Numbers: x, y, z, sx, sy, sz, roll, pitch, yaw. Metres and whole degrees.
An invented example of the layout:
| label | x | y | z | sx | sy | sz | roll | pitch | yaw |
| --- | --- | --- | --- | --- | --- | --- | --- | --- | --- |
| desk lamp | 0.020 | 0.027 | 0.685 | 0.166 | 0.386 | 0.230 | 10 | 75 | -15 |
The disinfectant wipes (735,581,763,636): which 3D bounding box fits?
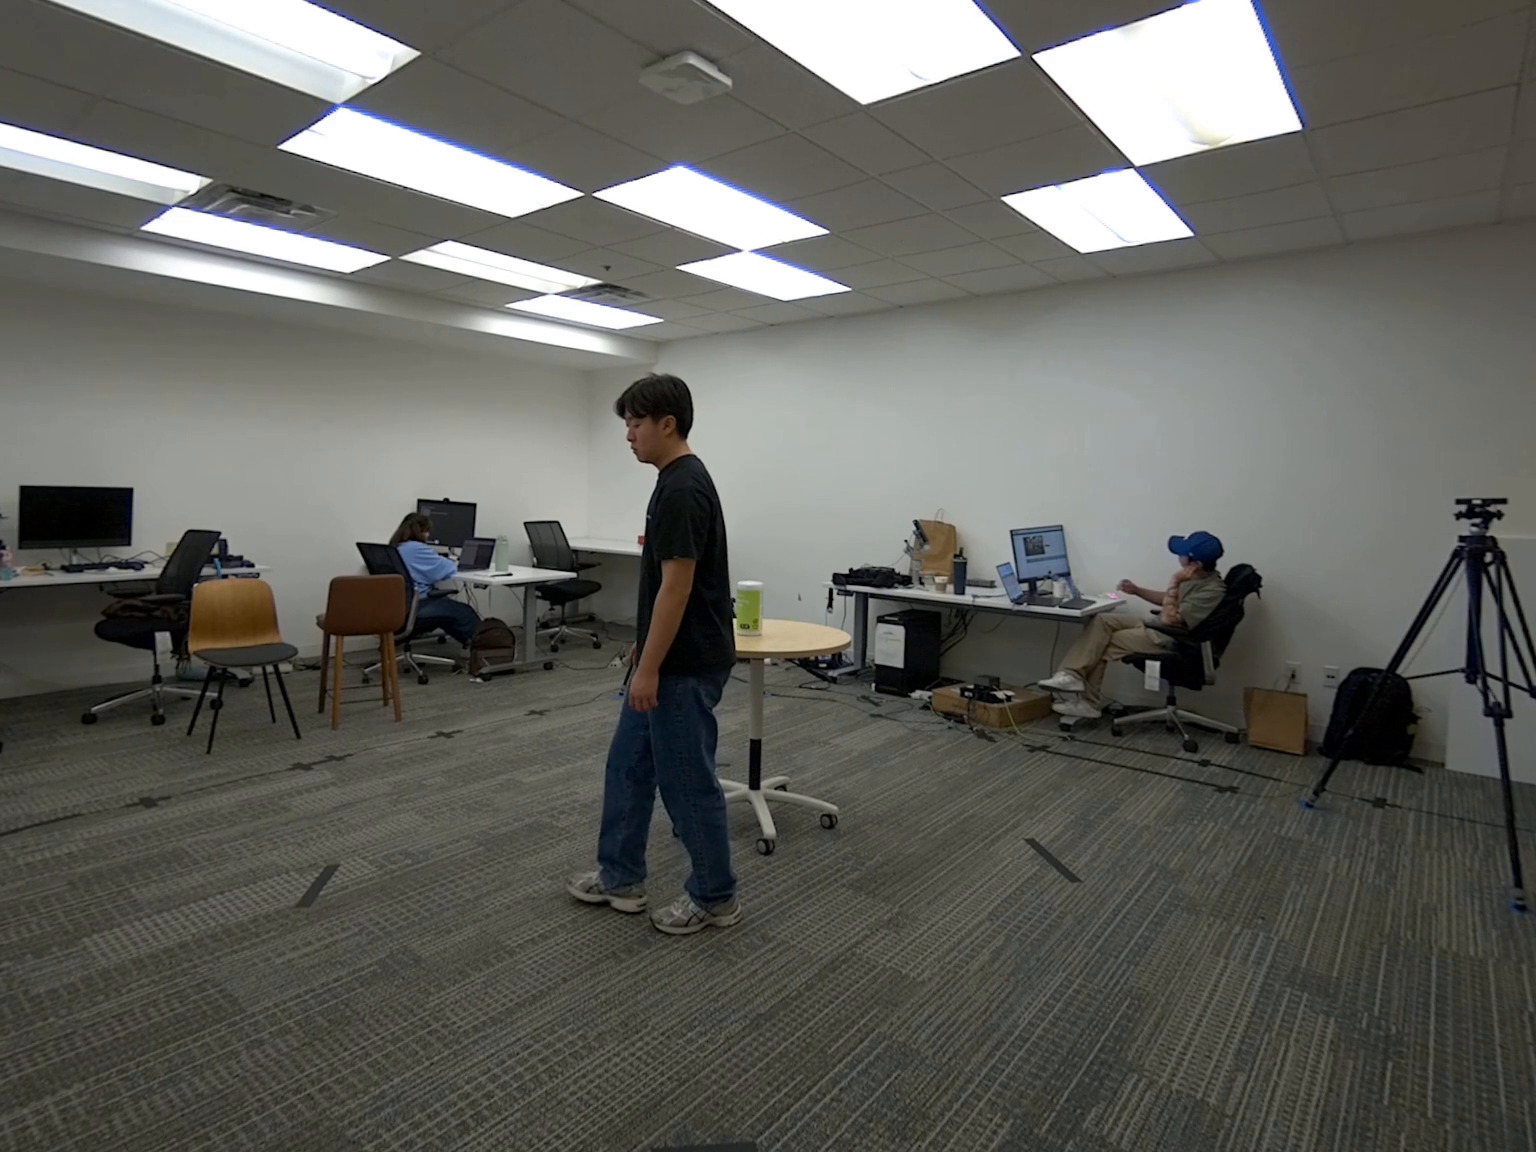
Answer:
| label | x | y | z | sx | sy | sz | roll | pitch | yaw |
| --- | --- | --- | --- | --- | --- | --- | --- | --- | --- |
| disinfectant wipes | -0.085 | 0.132 | 3.511 | 0.117 | 0.216 | 0.118 | 1 | 5 | -2 |
